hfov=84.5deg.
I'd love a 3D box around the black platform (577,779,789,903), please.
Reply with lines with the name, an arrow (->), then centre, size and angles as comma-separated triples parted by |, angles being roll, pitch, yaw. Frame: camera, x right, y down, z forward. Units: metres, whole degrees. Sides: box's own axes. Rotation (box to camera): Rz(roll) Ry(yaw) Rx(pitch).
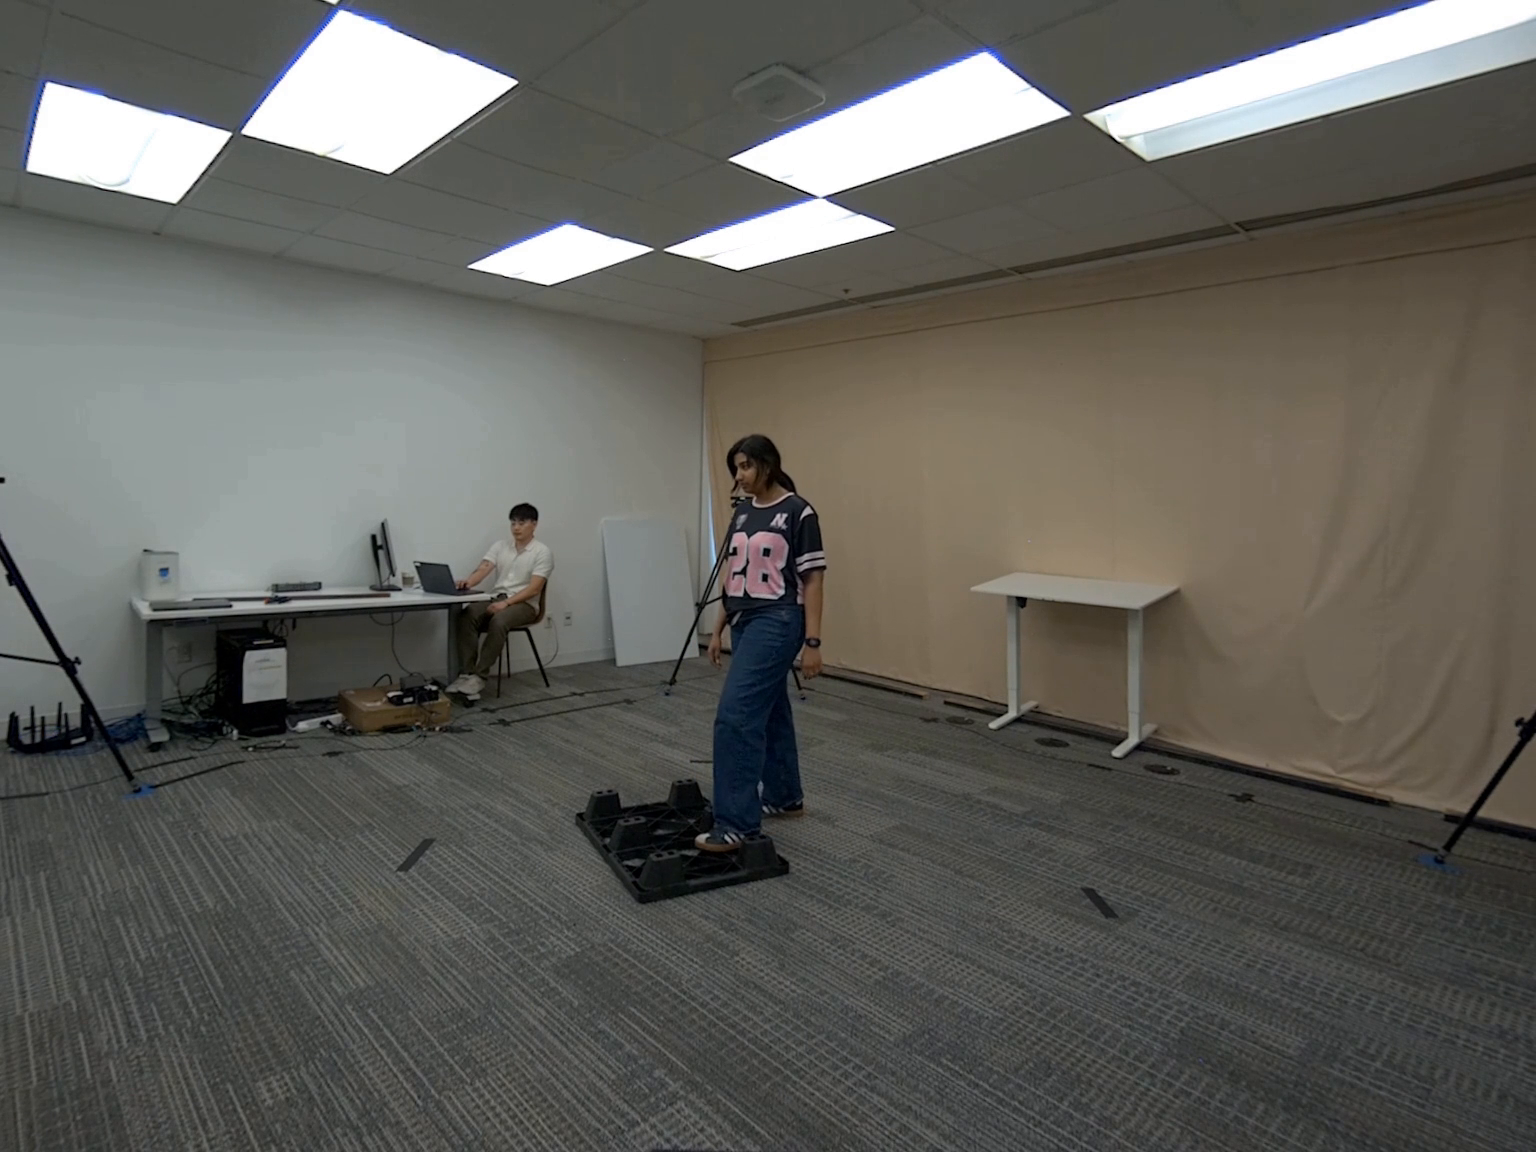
black platform -> -0.367, 1.013, 3.341 | 0.593, 0.143, 0.824 | -2, 6, -28
